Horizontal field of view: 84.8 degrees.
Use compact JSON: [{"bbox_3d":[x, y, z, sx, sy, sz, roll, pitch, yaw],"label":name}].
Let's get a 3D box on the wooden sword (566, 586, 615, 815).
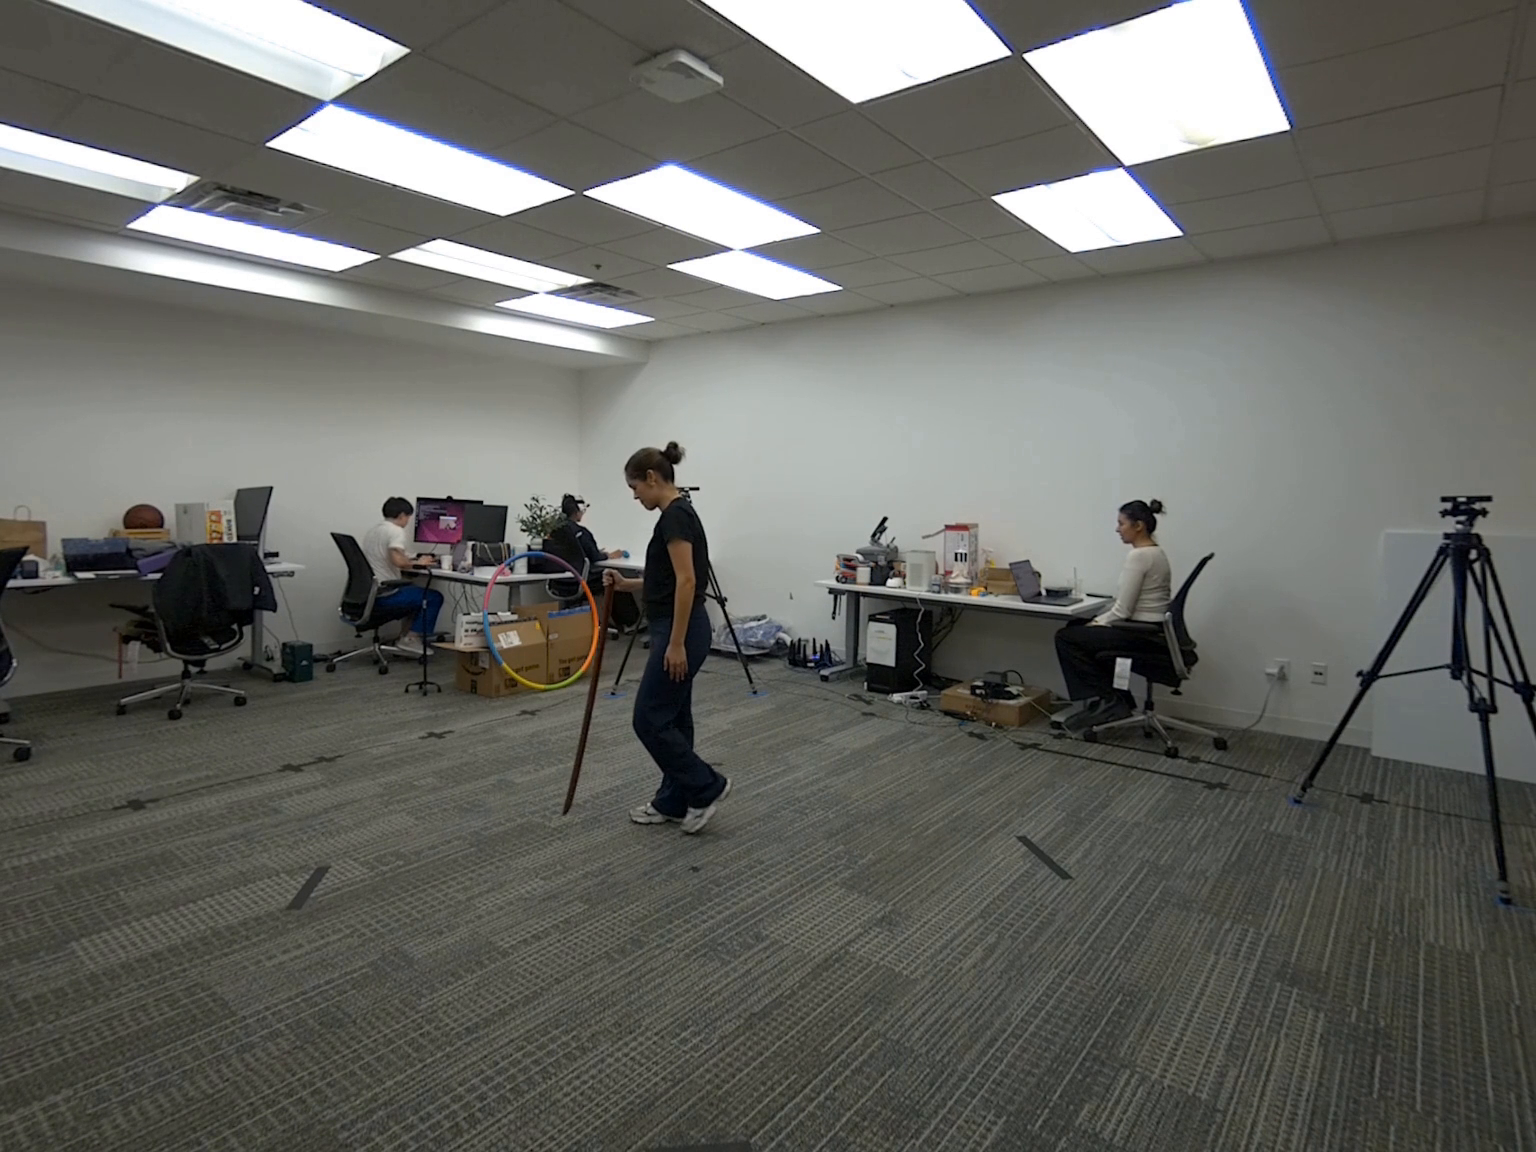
[{"bbox_3d":[-0.726,0.491,3.584,0.049,1.027,0.025,9,-4,-33],"label":"wooden sword"}]
